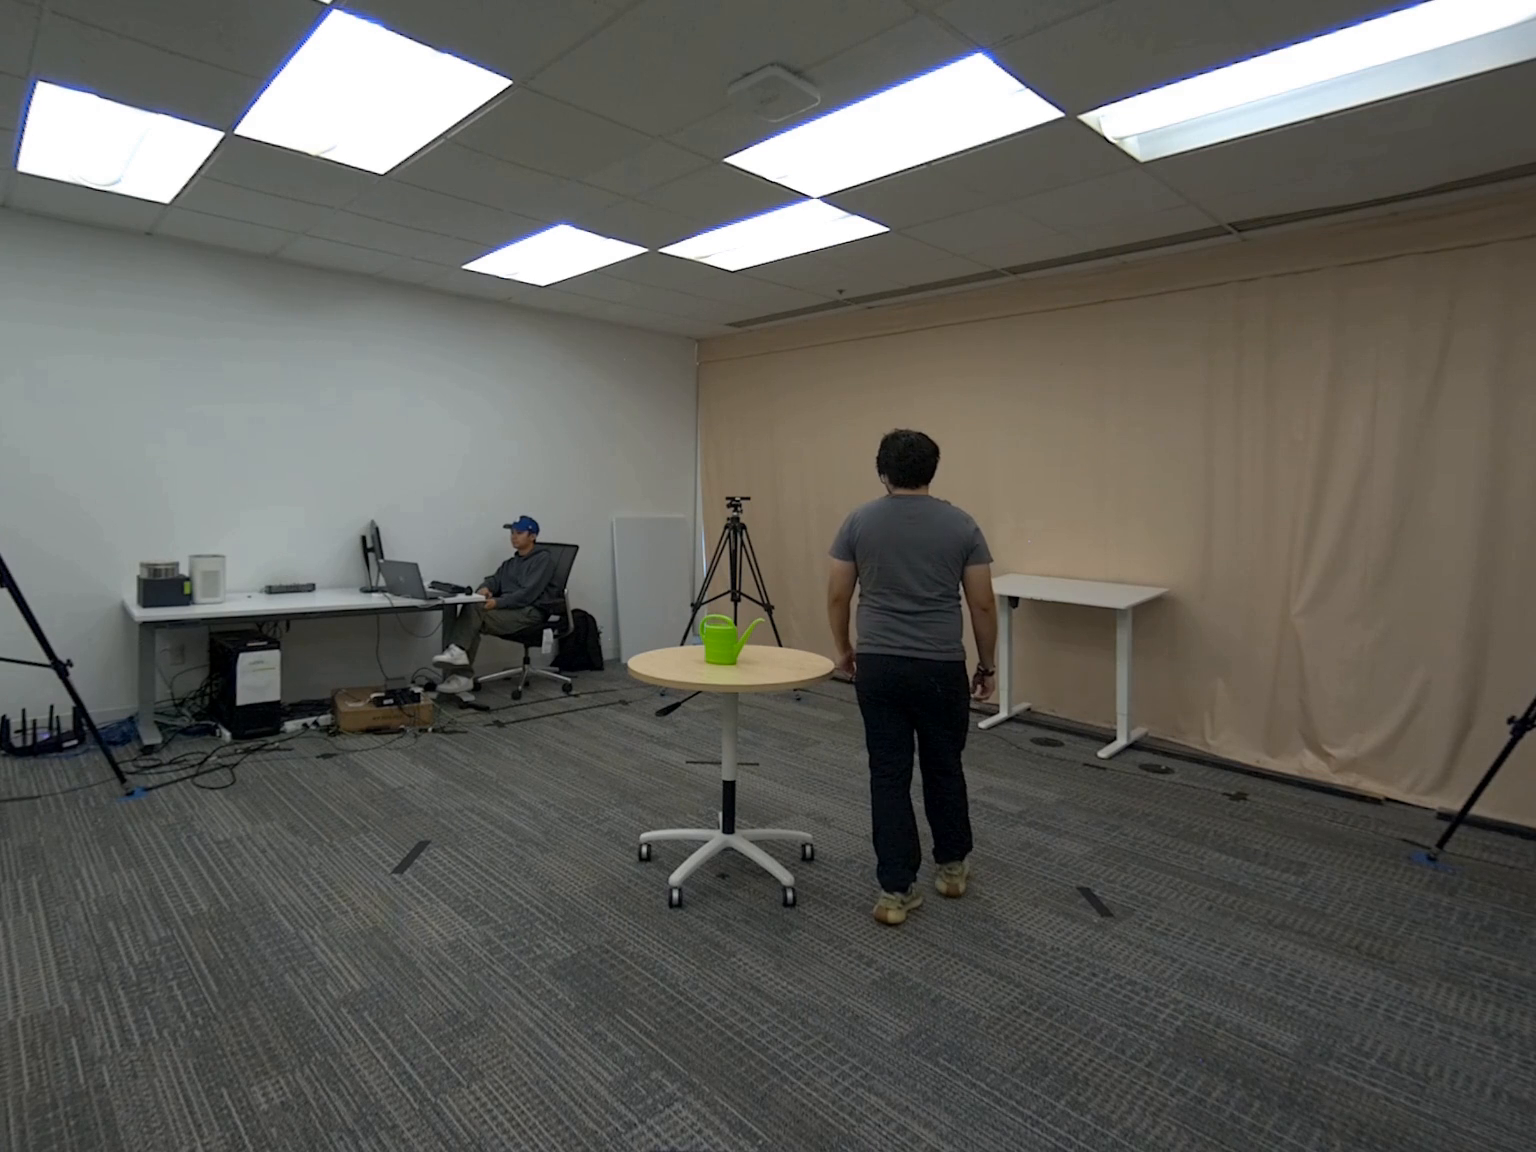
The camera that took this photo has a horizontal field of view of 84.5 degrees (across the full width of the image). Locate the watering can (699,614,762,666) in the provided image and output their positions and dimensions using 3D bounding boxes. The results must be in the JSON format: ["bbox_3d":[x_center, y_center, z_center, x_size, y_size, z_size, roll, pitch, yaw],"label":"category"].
[{"bbox_3d":[-0.144,0.235,3.085,0.285,0.176,0.096,5,6,43],"label":"watering can"}]
